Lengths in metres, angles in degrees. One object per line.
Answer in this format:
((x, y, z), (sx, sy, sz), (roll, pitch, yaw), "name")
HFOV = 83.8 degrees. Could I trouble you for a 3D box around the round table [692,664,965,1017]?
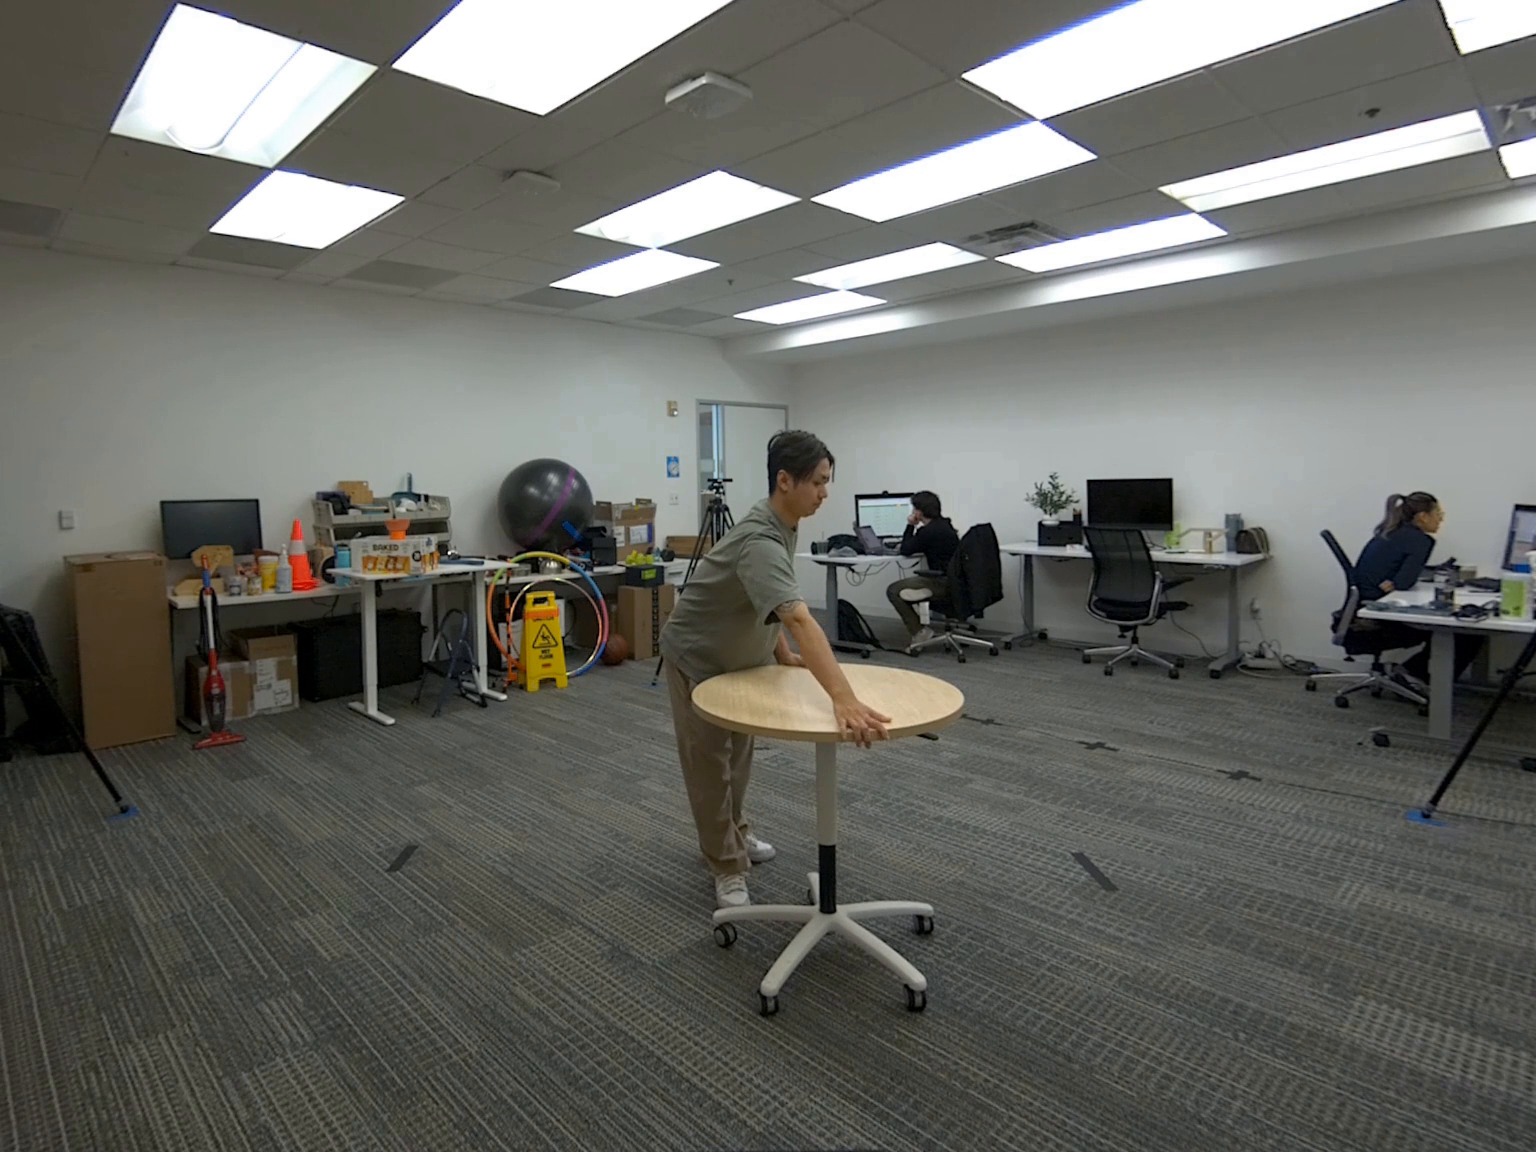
((0.168, 0.723, 2.458), (0.784, 0.783, 0.789), (-1, 5, -2), "round table")
